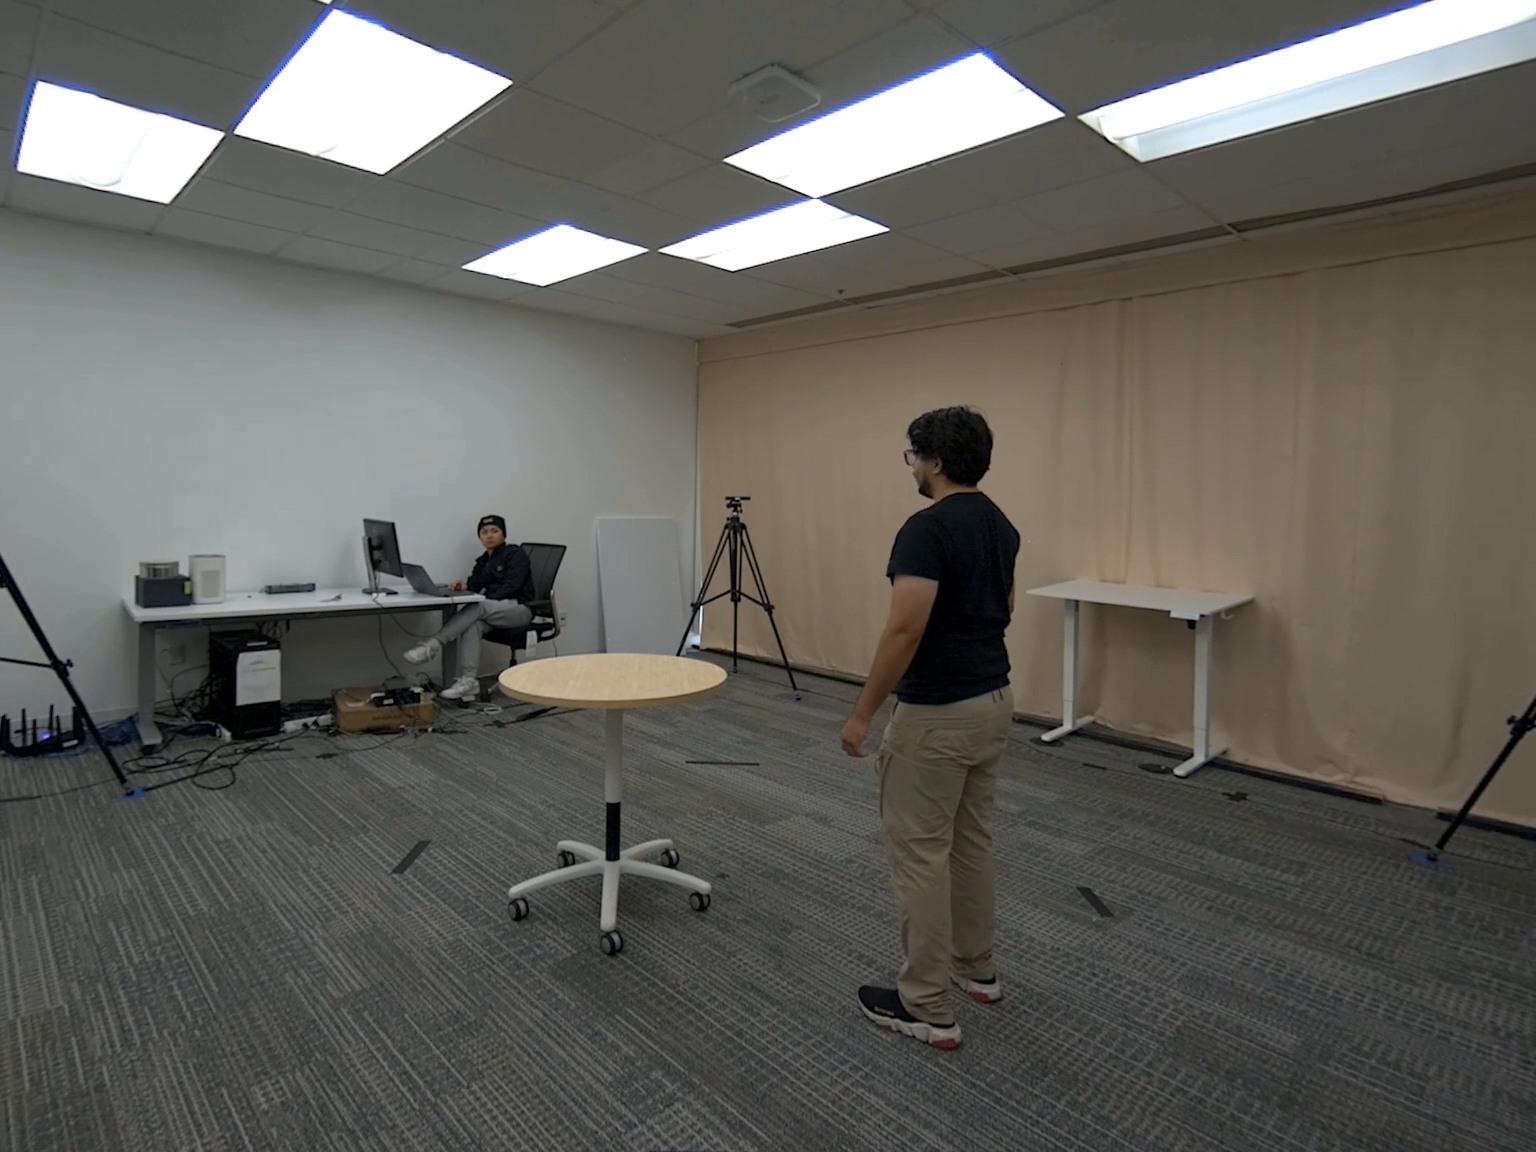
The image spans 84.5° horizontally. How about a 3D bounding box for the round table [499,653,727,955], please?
[{"bbox_3d":[-0.520,0.724,2.883,0.784,0.784,0.788,1,4,-1],"label":"round table"}]
